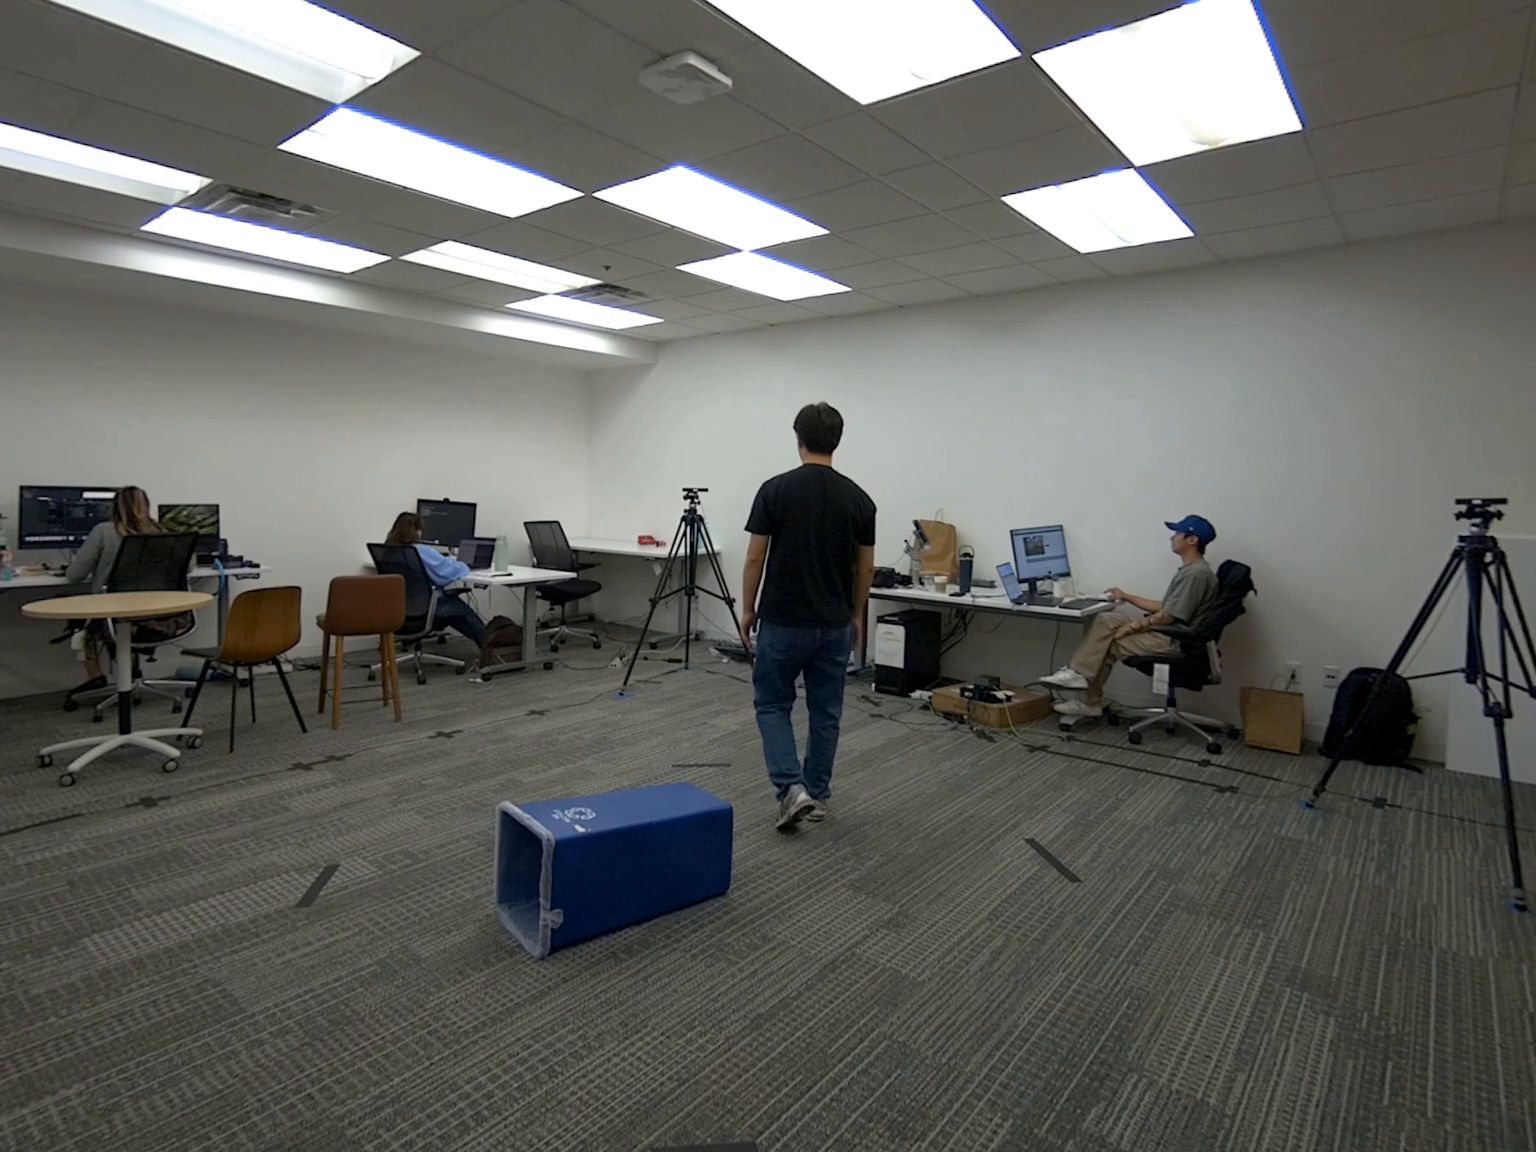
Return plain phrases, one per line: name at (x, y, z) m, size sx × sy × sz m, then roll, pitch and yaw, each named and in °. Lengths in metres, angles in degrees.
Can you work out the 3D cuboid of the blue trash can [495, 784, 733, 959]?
blue trash can at (-0.509, 0.925, 2.830) m, size 0.691 × 0.377 × 0.387 m, roll 1°, pitch 3°, yaw -38°
